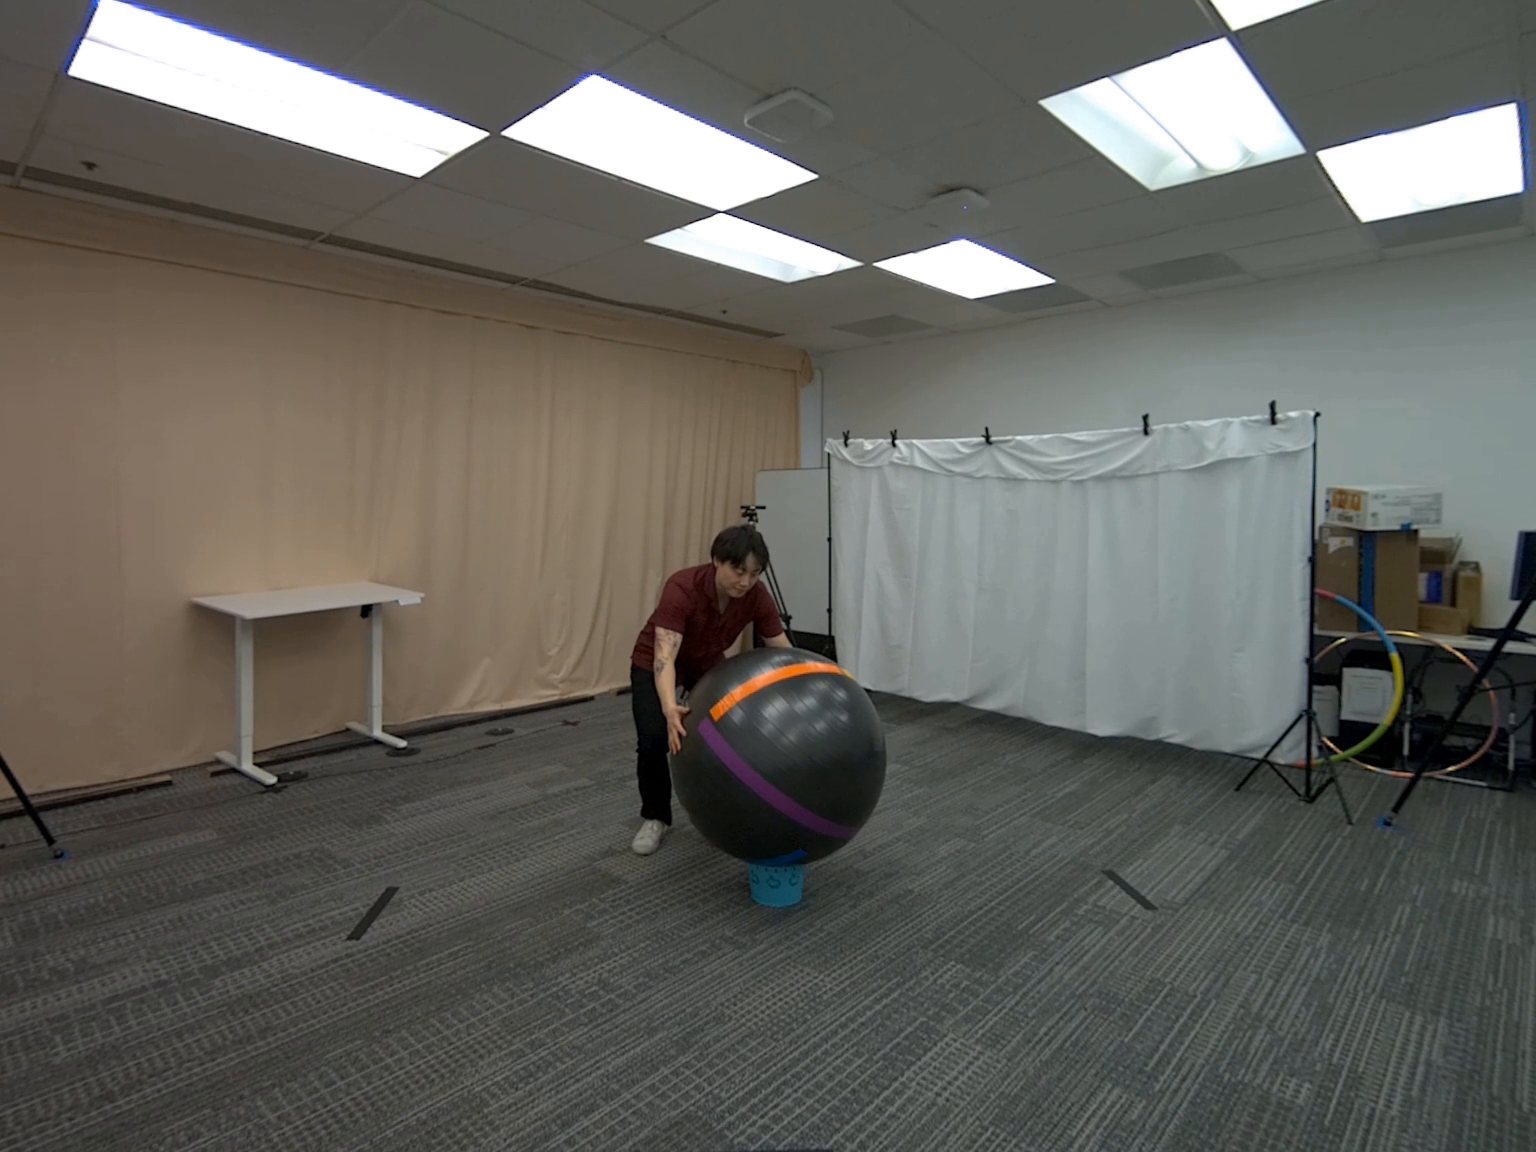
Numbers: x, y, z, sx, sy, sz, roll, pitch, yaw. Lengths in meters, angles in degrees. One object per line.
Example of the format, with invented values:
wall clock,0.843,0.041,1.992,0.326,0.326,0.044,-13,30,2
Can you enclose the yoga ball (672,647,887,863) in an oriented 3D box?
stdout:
yoga ball,0.038,0.638,2.985,0.757,0.756,0.761,0,4,-2
